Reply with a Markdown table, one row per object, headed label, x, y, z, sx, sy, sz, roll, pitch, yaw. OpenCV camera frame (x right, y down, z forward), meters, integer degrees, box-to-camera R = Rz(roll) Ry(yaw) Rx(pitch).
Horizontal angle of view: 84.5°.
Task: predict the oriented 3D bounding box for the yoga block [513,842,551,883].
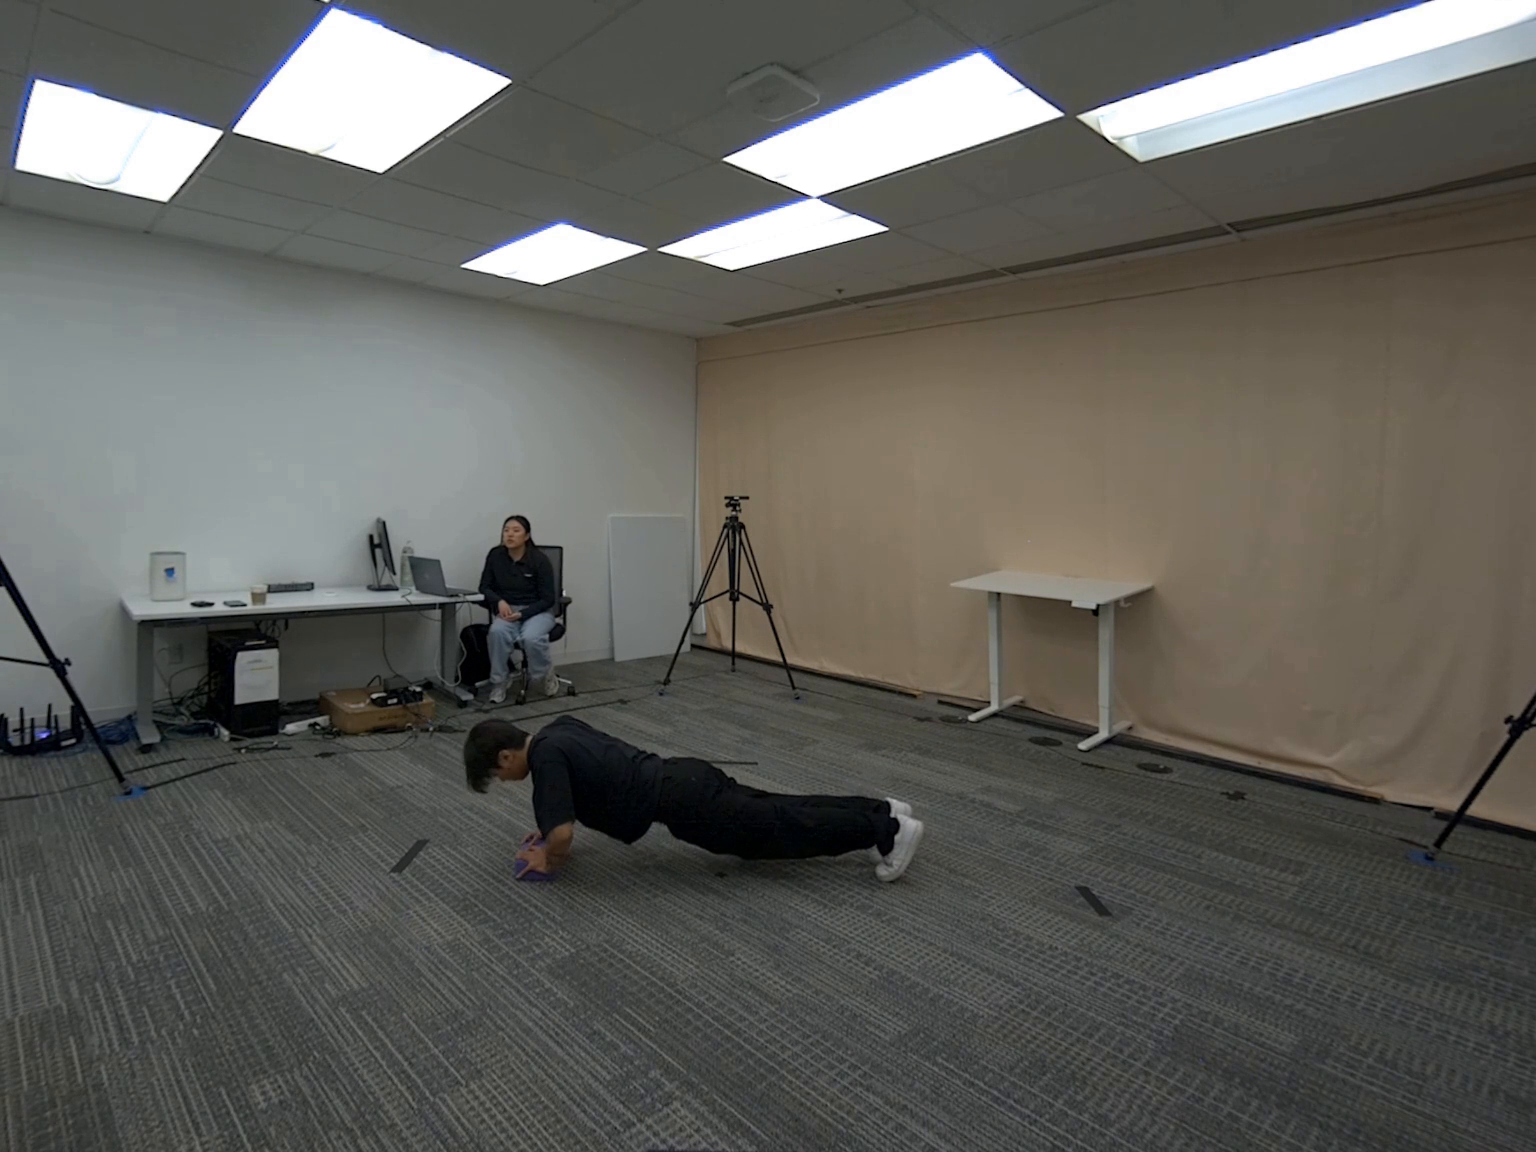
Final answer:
| label | x | y | z | sx | sy | sz | roll | pitch | yaw |
| --- | --- | --- | --- | --- | --- | --- | --- | --- | --- |
| yoga block | -0.849 | 1.051 | 3.135 | 0.148 | 0.076 | 0.231 | -1 | 4 | -6 |
